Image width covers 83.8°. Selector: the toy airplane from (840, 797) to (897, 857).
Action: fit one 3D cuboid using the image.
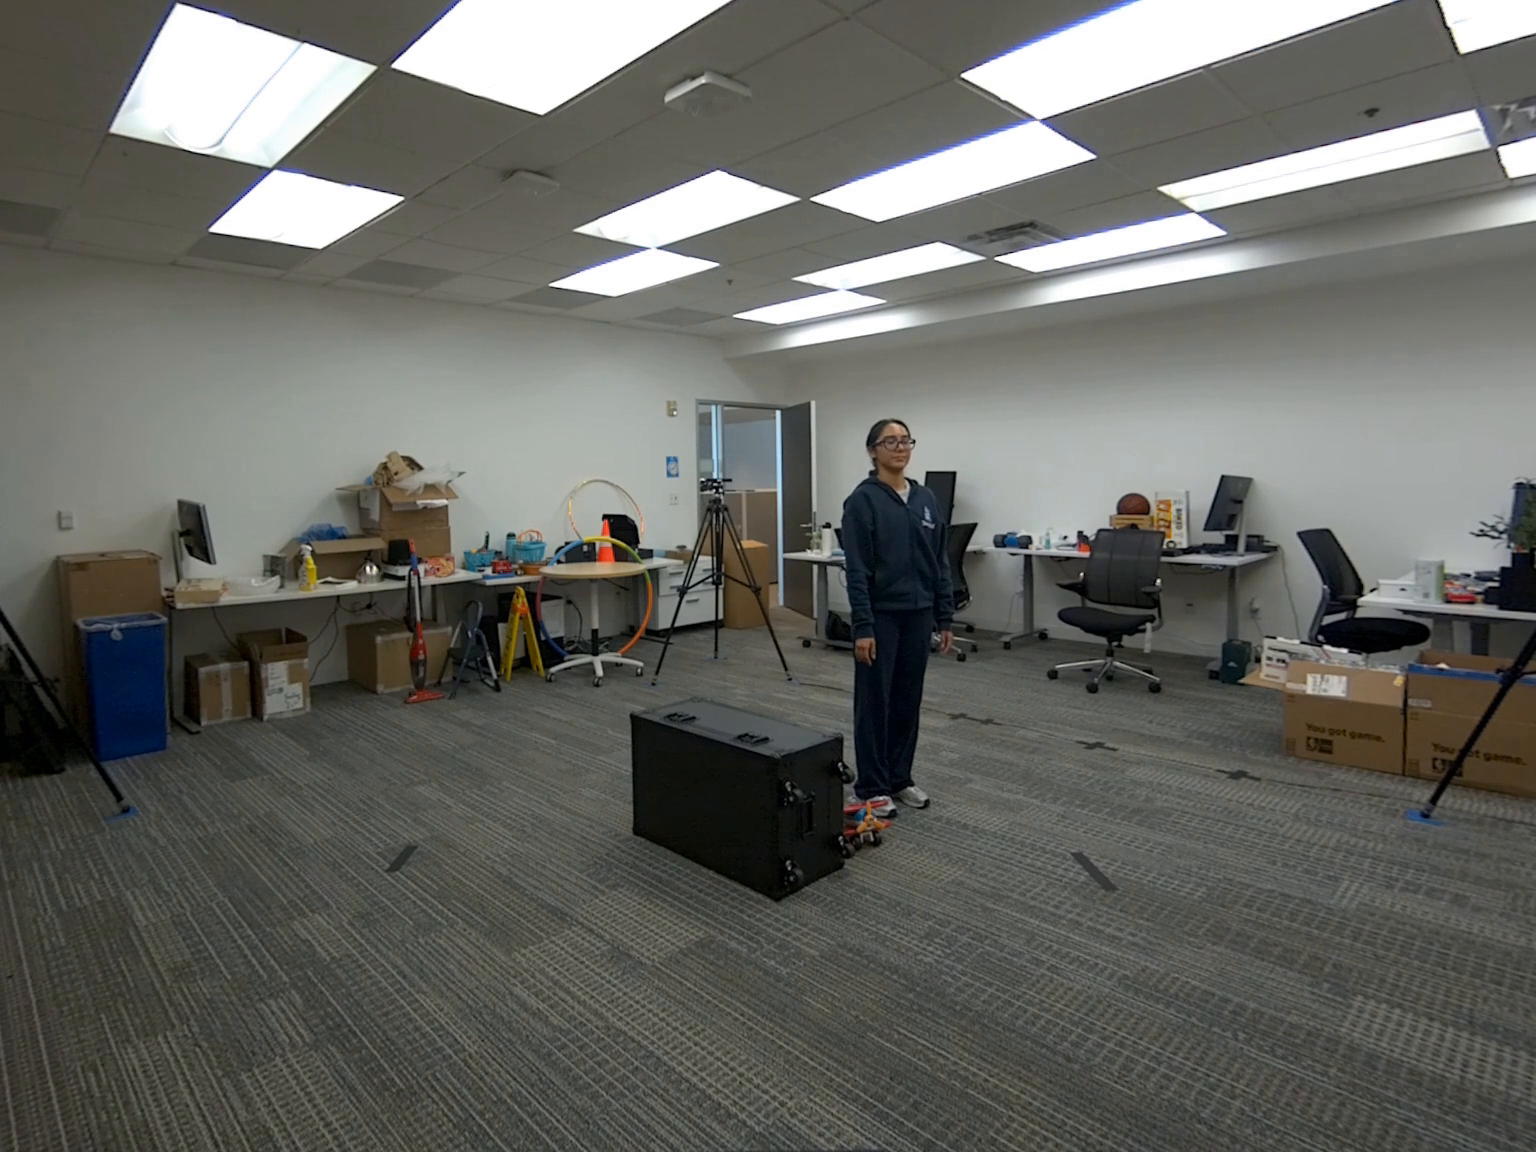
[{"bbox_3d":[0.320,0.947,3.263,0.267,0.156,0.244,6,8,38],"label":"toy airplane"}]
